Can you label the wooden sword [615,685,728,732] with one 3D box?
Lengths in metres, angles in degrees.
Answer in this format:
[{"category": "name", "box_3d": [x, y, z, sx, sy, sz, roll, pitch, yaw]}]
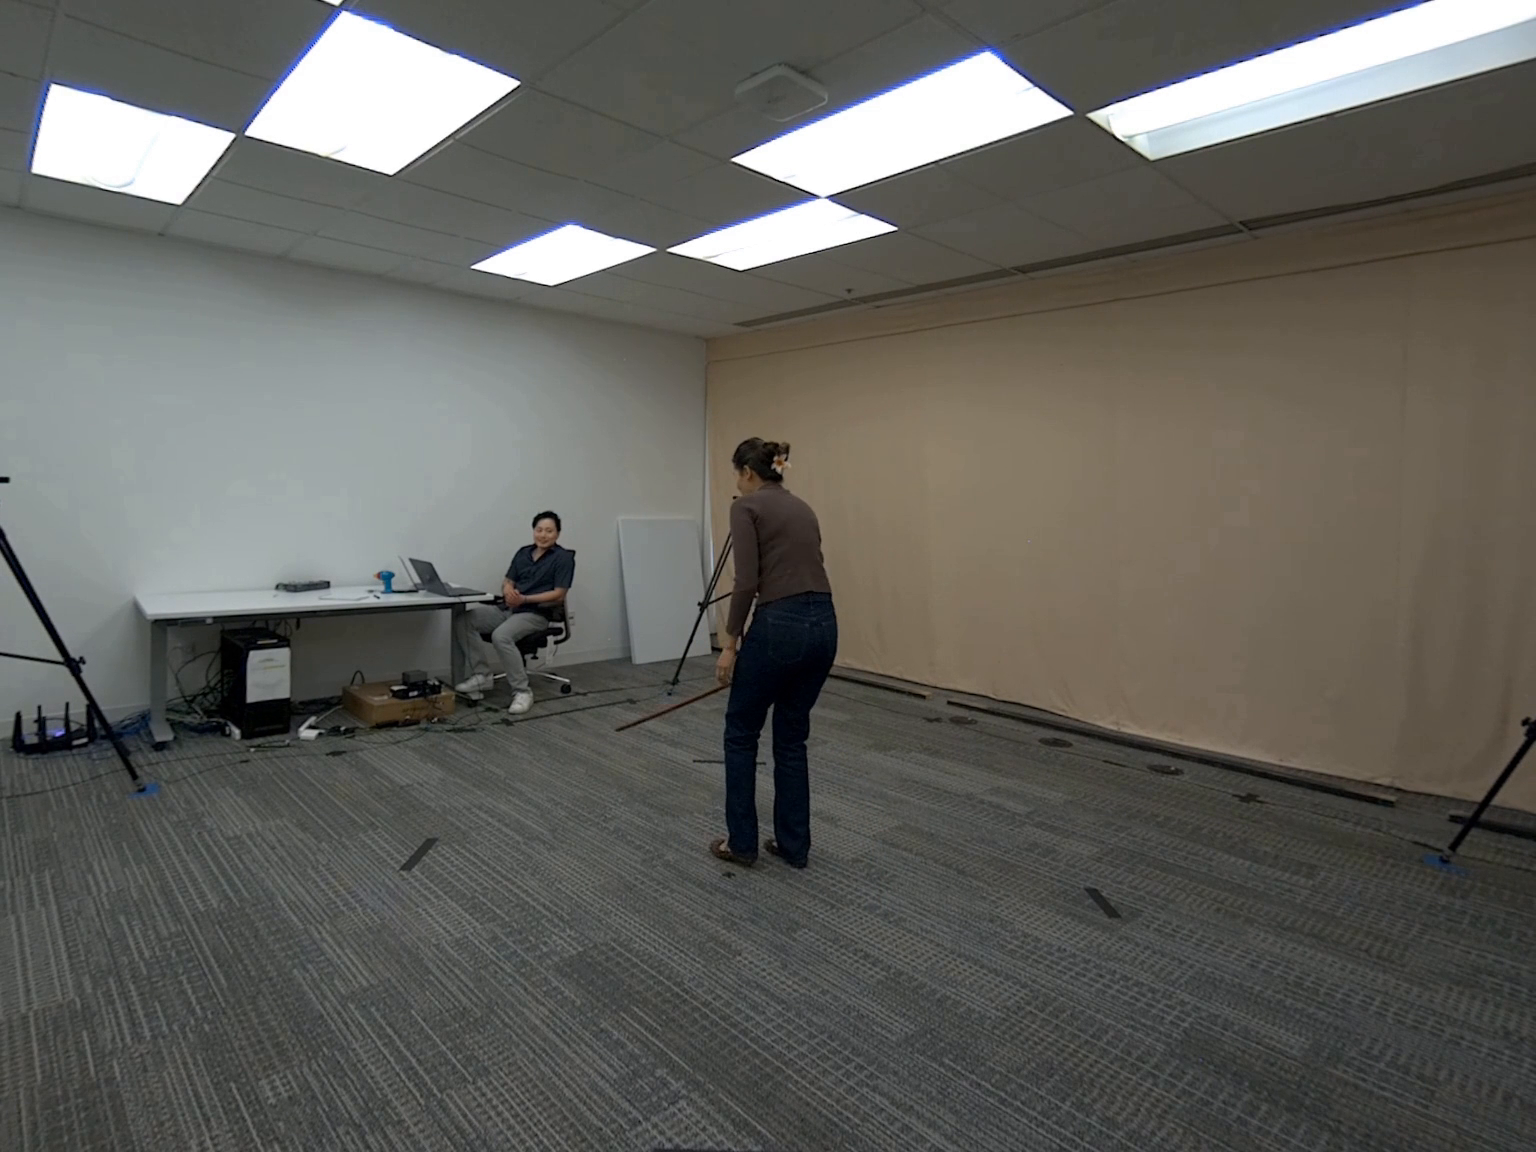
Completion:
[{"category": "wooden sword", "box_3d": [-0.246, 0.488, 3.581, 1.030, 0.052, 0.023, -25, -27, 14]}]
